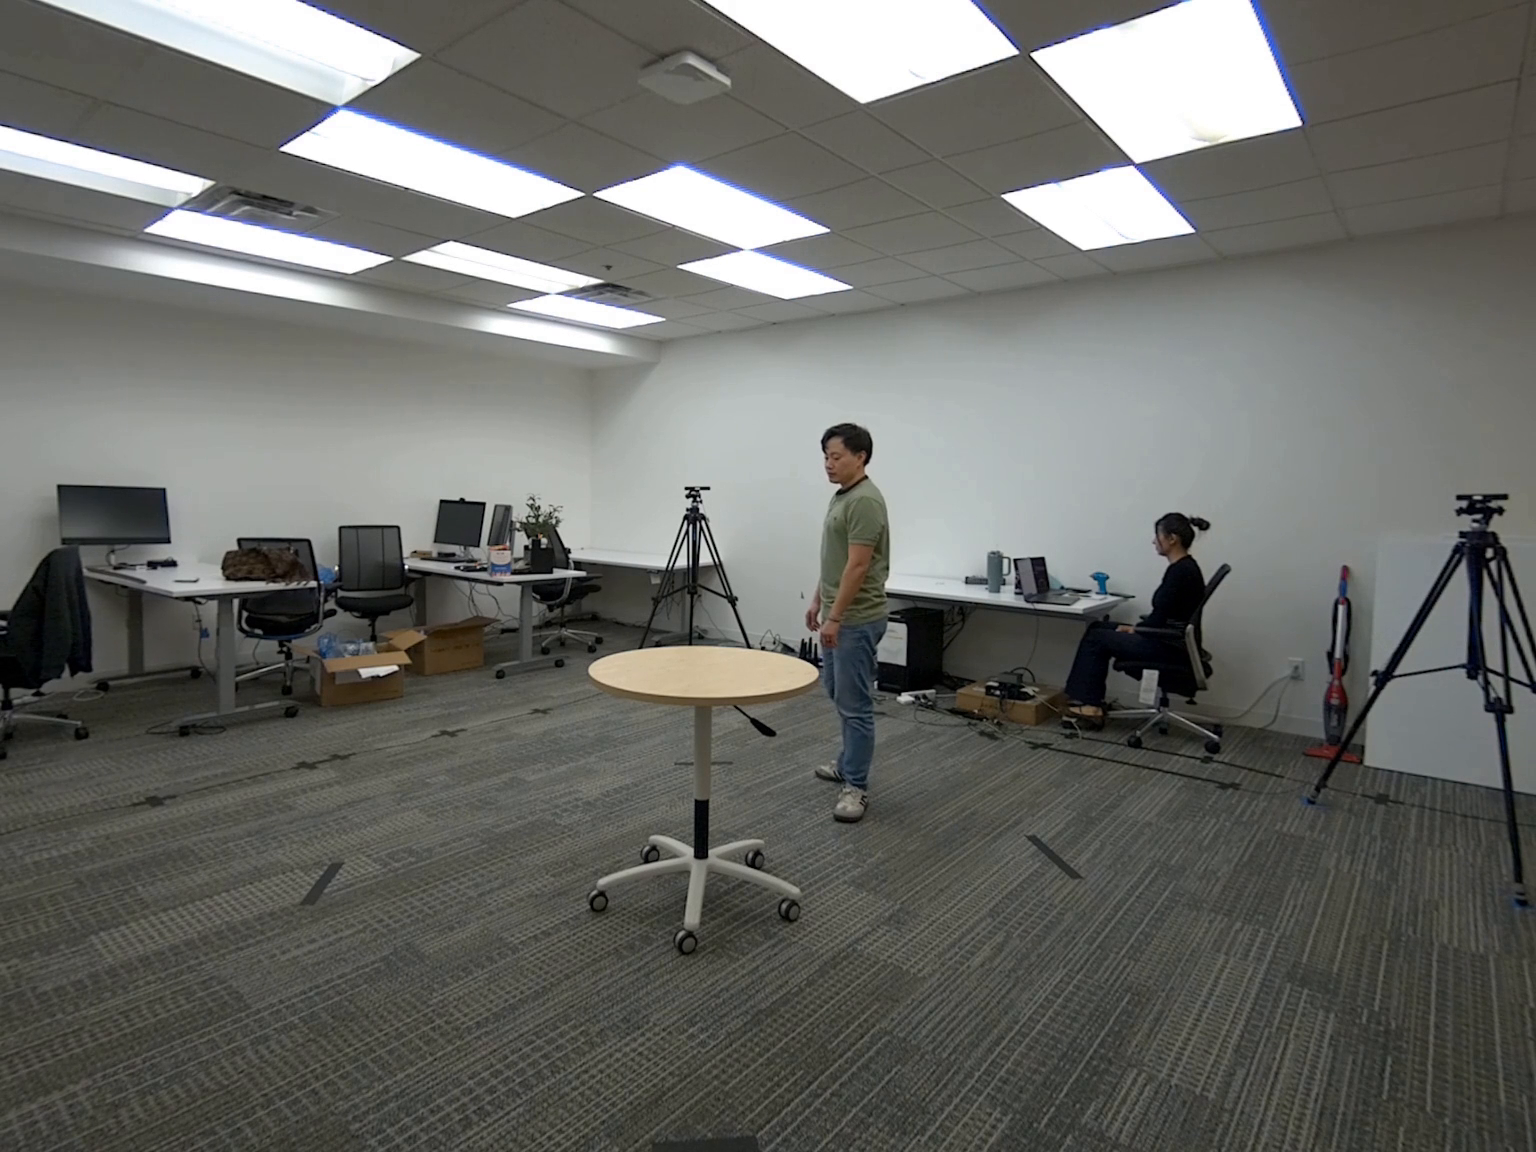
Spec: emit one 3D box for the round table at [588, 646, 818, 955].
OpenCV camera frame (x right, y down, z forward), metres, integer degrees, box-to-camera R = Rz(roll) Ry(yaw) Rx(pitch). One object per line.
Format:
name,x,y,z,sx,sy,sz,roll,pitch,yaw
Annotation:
round table,-0.233,0.701,2.866,0.763,0.791,0.768,1,5,-2
